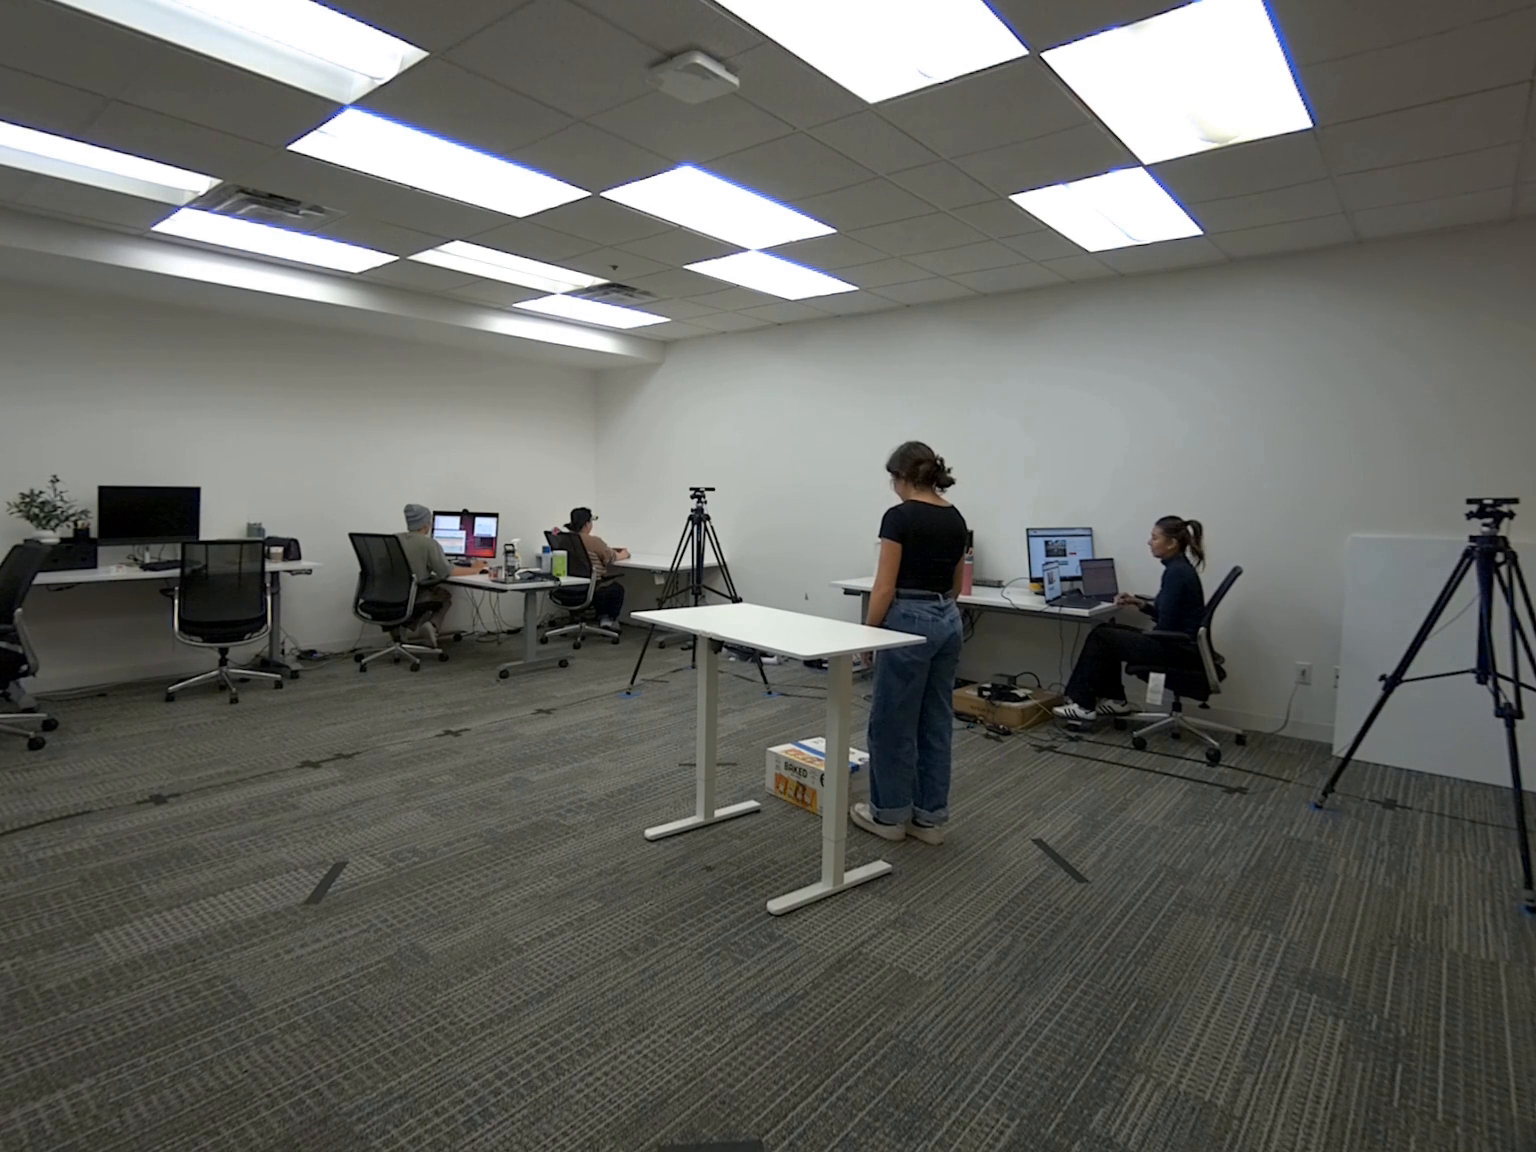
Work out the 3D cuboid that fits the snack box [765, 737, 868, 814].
[{"bbox_3d":[0.241,0.901,3.857,0.330,0.205,0.419,-3,6,-39],"label":"snack box"}]
